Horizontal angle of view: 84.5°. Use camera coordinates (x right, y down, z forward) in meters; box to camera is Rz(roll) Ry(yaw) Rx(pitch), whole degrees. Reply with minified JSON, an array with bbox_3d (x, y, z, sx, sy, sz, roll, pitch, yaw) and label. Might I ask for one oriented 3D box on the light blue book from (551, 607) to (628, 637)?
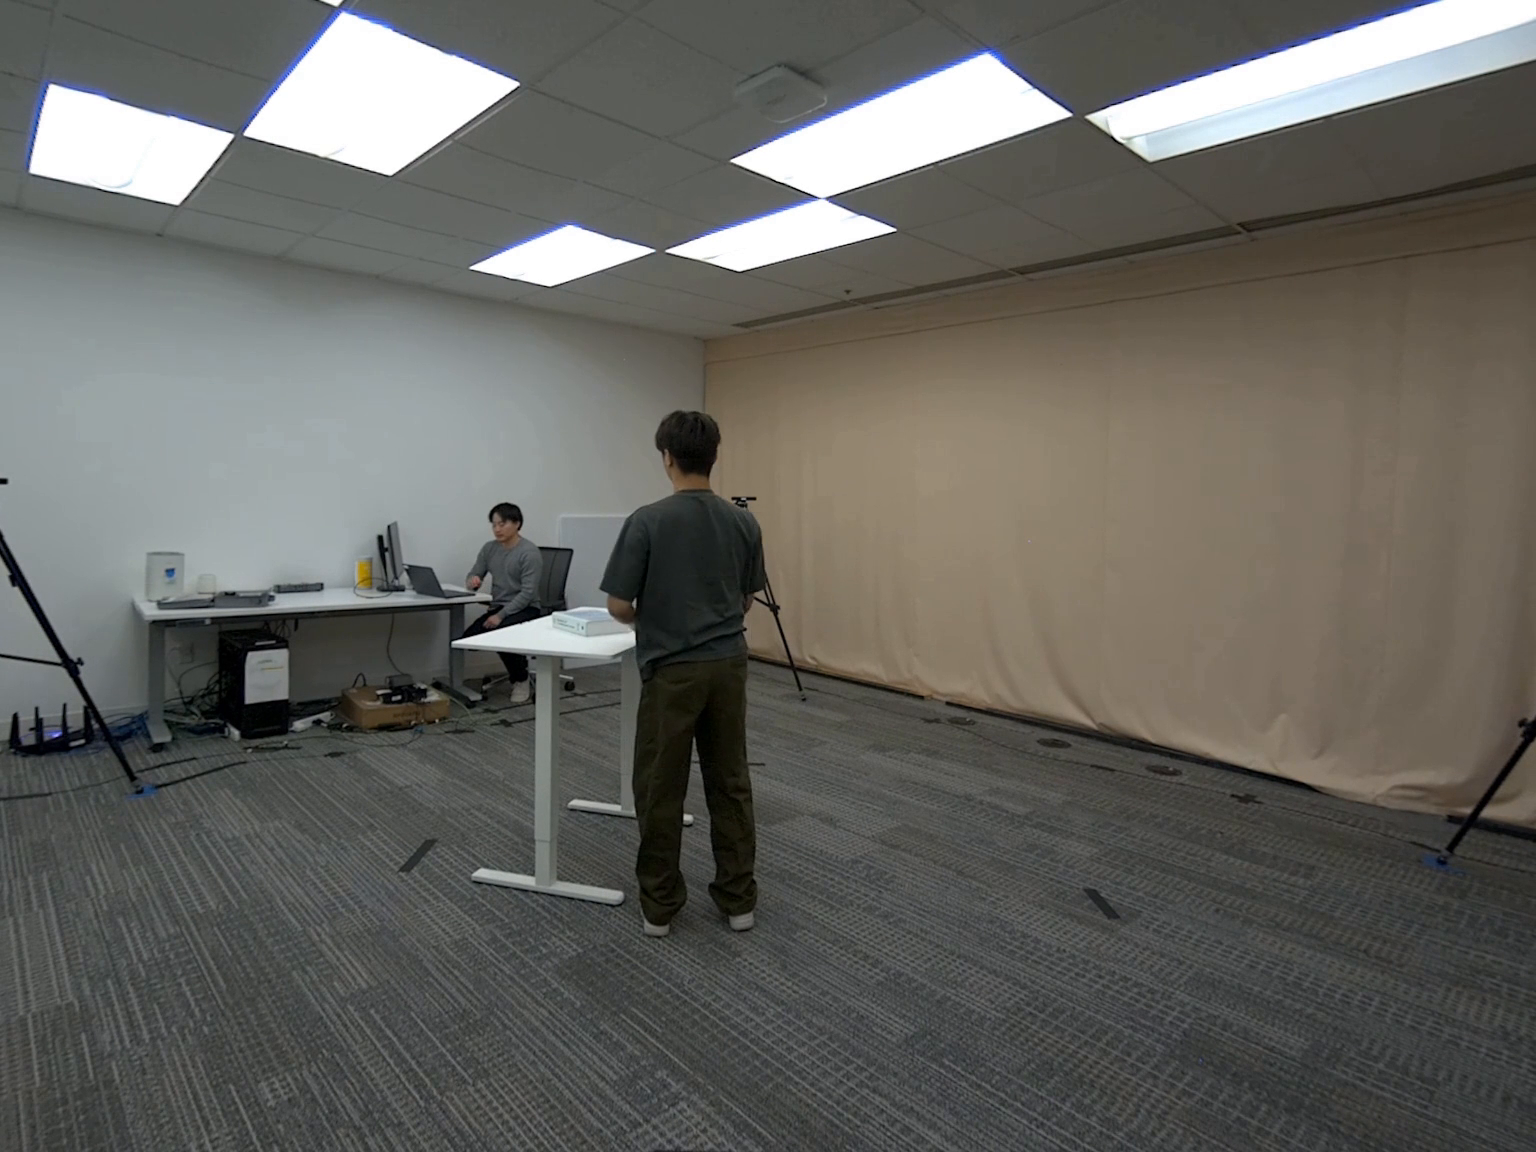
[{"bbox_3d":[-0.686,0.177,3.196,0.187,0.059,0.268,-4,8,-40],"label":"light blue book"}]
